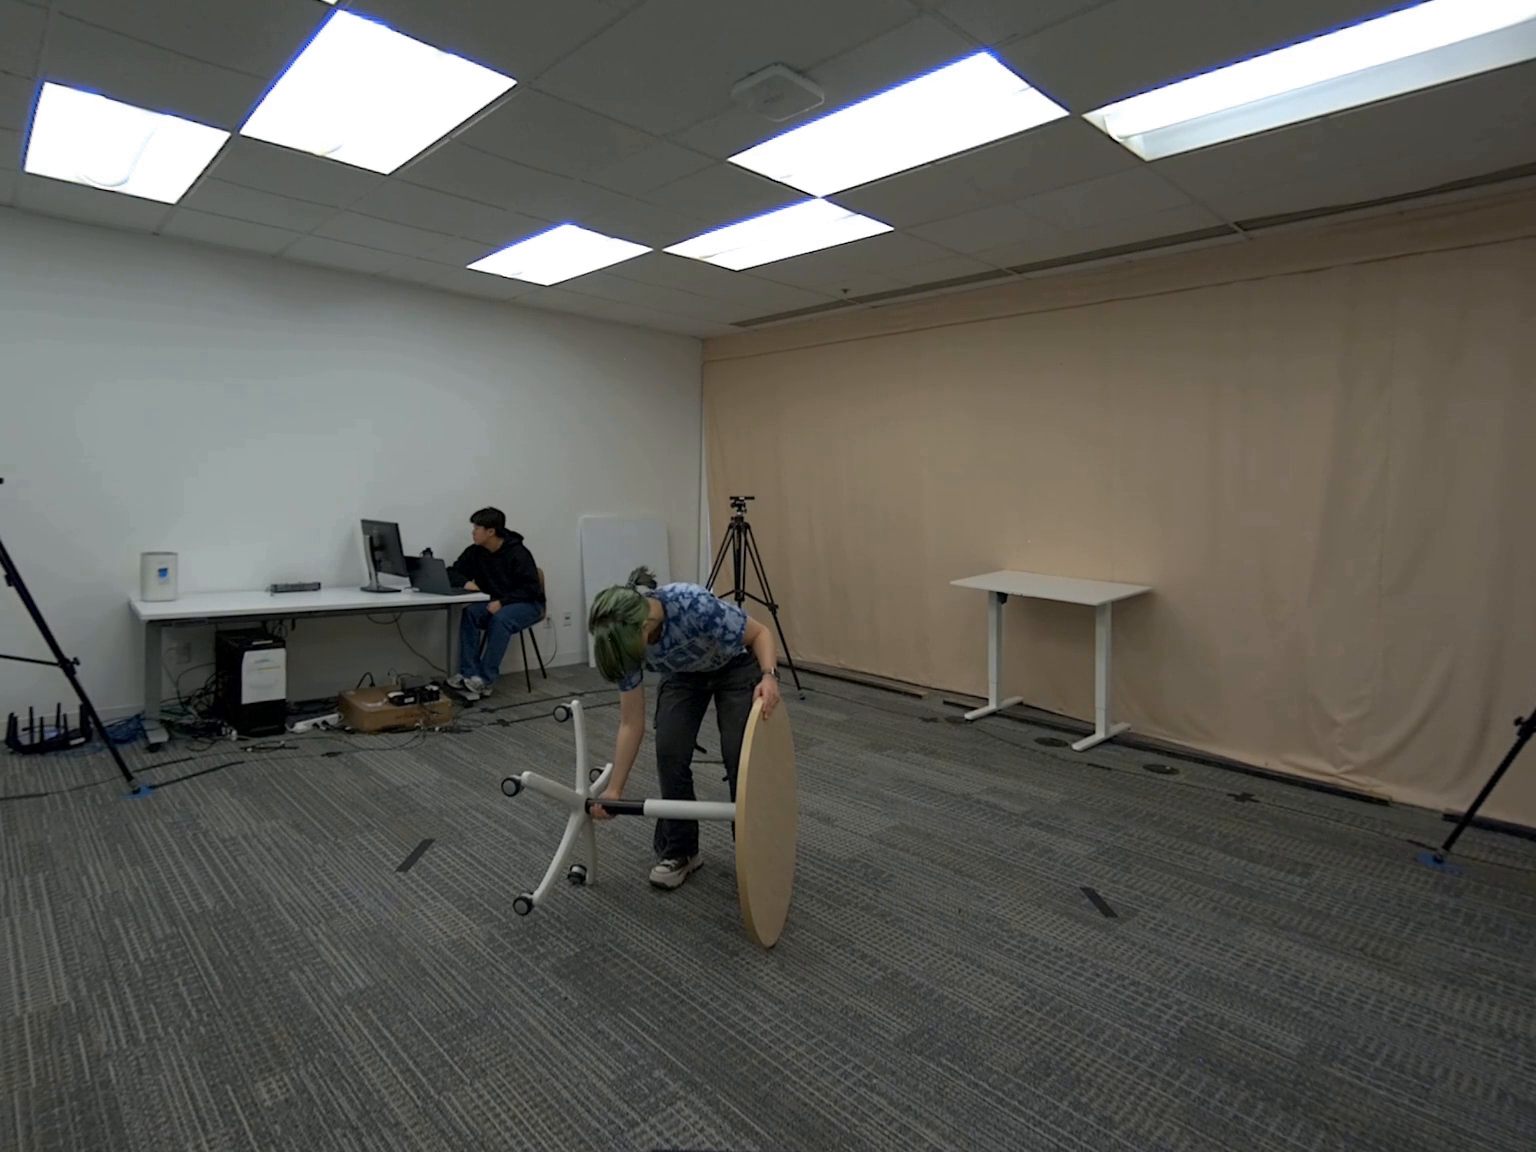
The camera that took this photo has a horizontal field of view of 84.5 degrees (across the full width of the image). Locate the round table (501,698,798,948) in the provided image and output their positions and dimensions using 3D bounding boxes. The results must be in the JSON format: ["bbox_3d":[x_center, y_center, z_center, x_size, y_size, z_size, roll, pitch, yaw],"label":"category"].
[{"bbox_3d":[-0.366,0.779,2.798,0.802,0.762,0.758,-2,3,12],"label":"round table"}]
